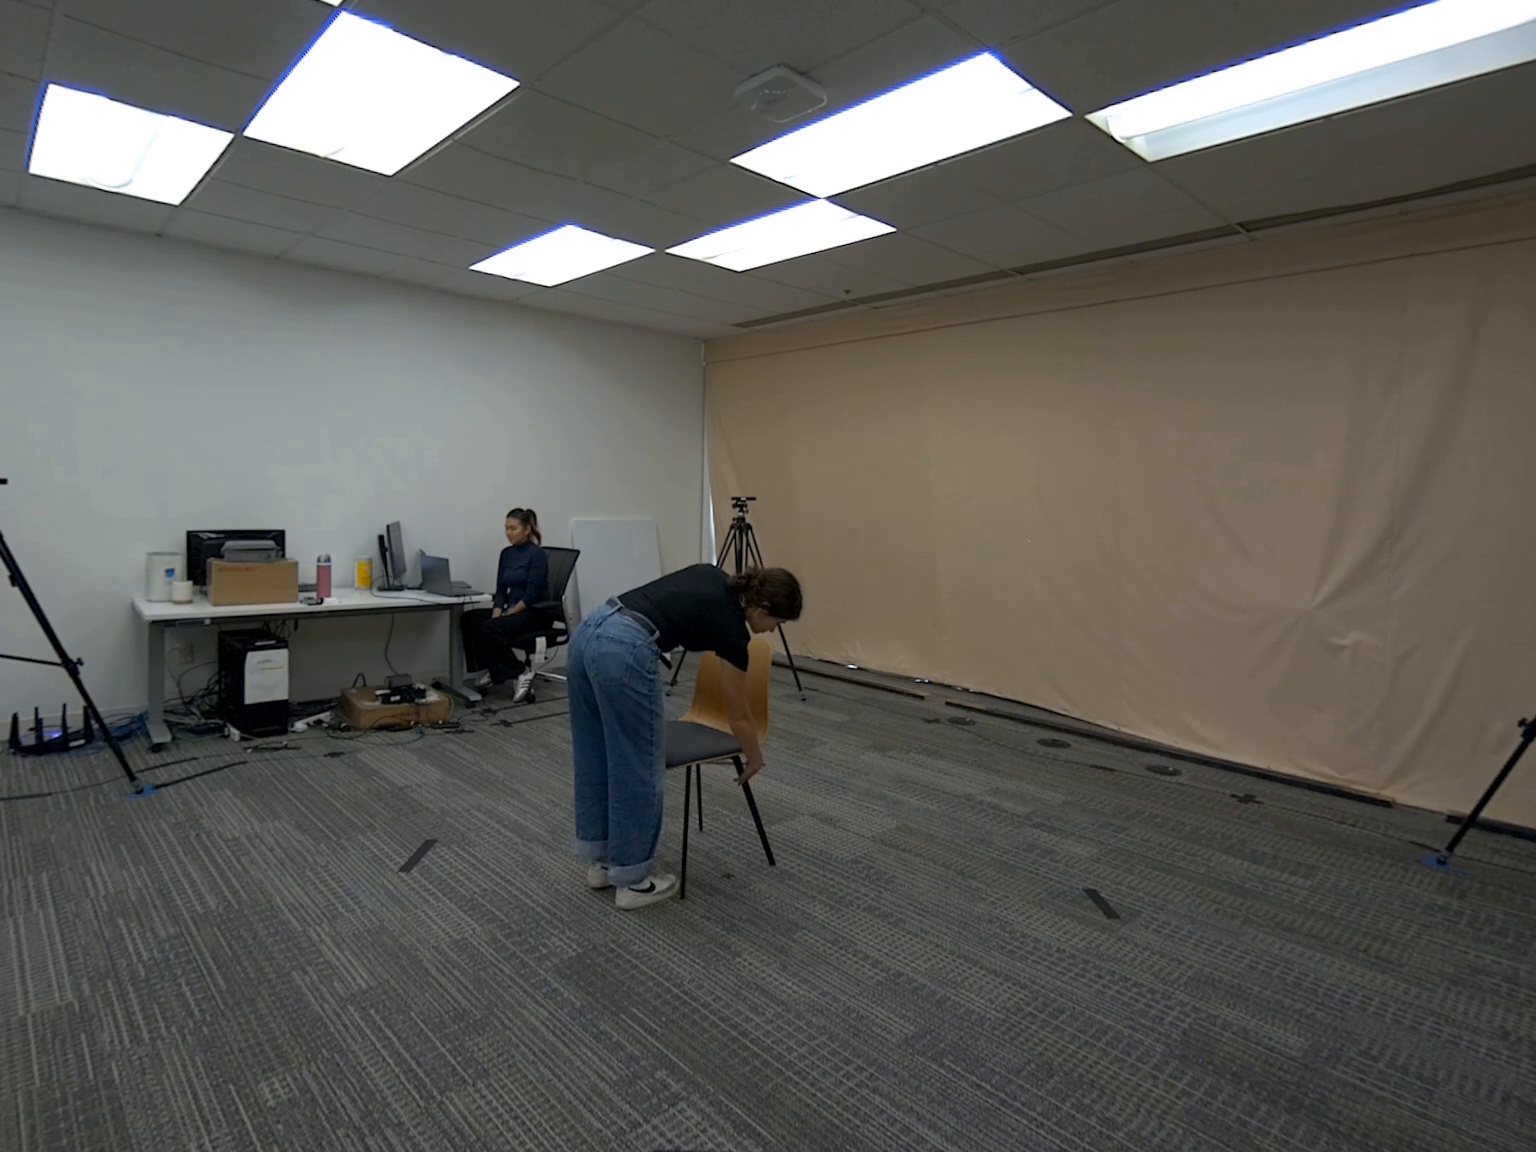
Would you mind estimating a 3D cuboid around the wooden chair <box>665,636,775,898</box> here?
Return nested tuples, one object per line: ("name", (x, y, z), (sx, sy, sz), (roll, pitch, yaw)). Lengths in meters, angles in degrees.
("wooden chair", (-0.290, 0.670, 3.193), (0.510, 0.877, 0.490), (3, 1, -42))
